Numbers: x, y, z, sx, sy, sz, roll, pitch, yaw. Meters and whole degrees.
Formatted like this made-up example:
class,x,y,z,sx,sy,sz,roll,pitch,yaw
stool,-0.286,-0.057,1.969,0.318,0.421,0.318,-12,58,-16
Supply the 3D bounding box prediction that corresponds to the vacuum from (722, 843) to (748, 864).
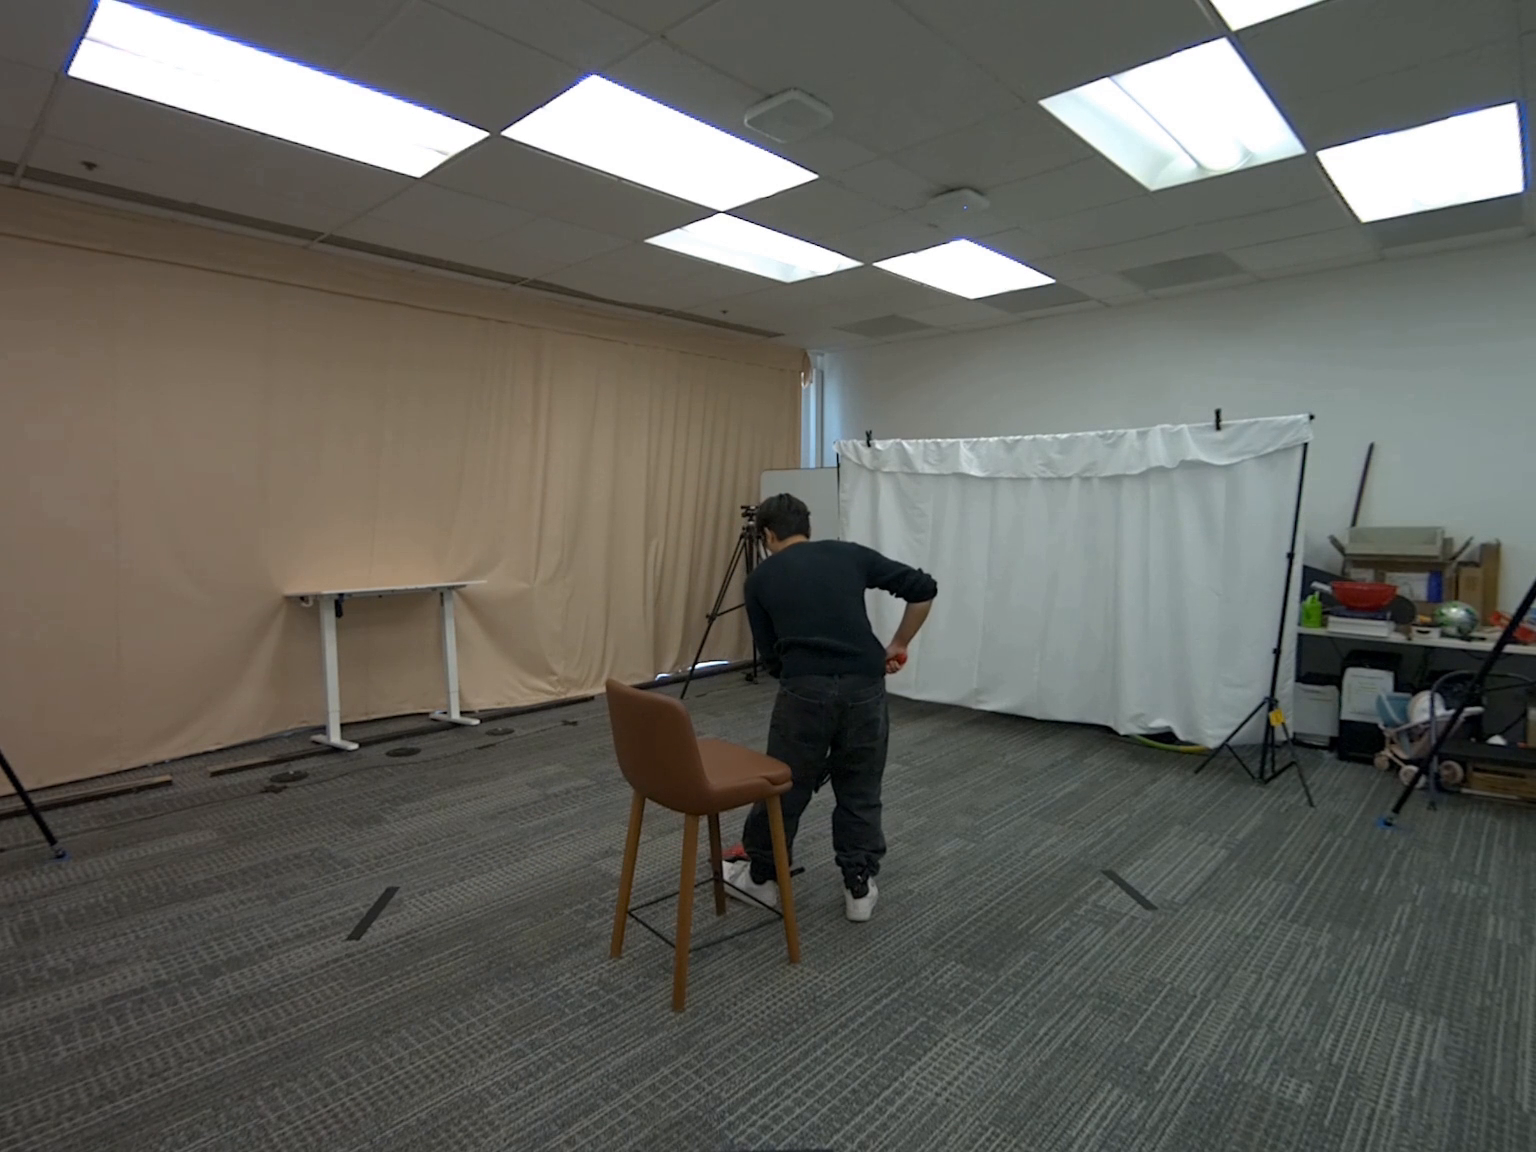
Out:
class,x,y,z,sx,sy,sz,roll,pitch,yaw
vacuum,0.170,0.704,3.116,0.148,1.051,0.245,46,20,26
